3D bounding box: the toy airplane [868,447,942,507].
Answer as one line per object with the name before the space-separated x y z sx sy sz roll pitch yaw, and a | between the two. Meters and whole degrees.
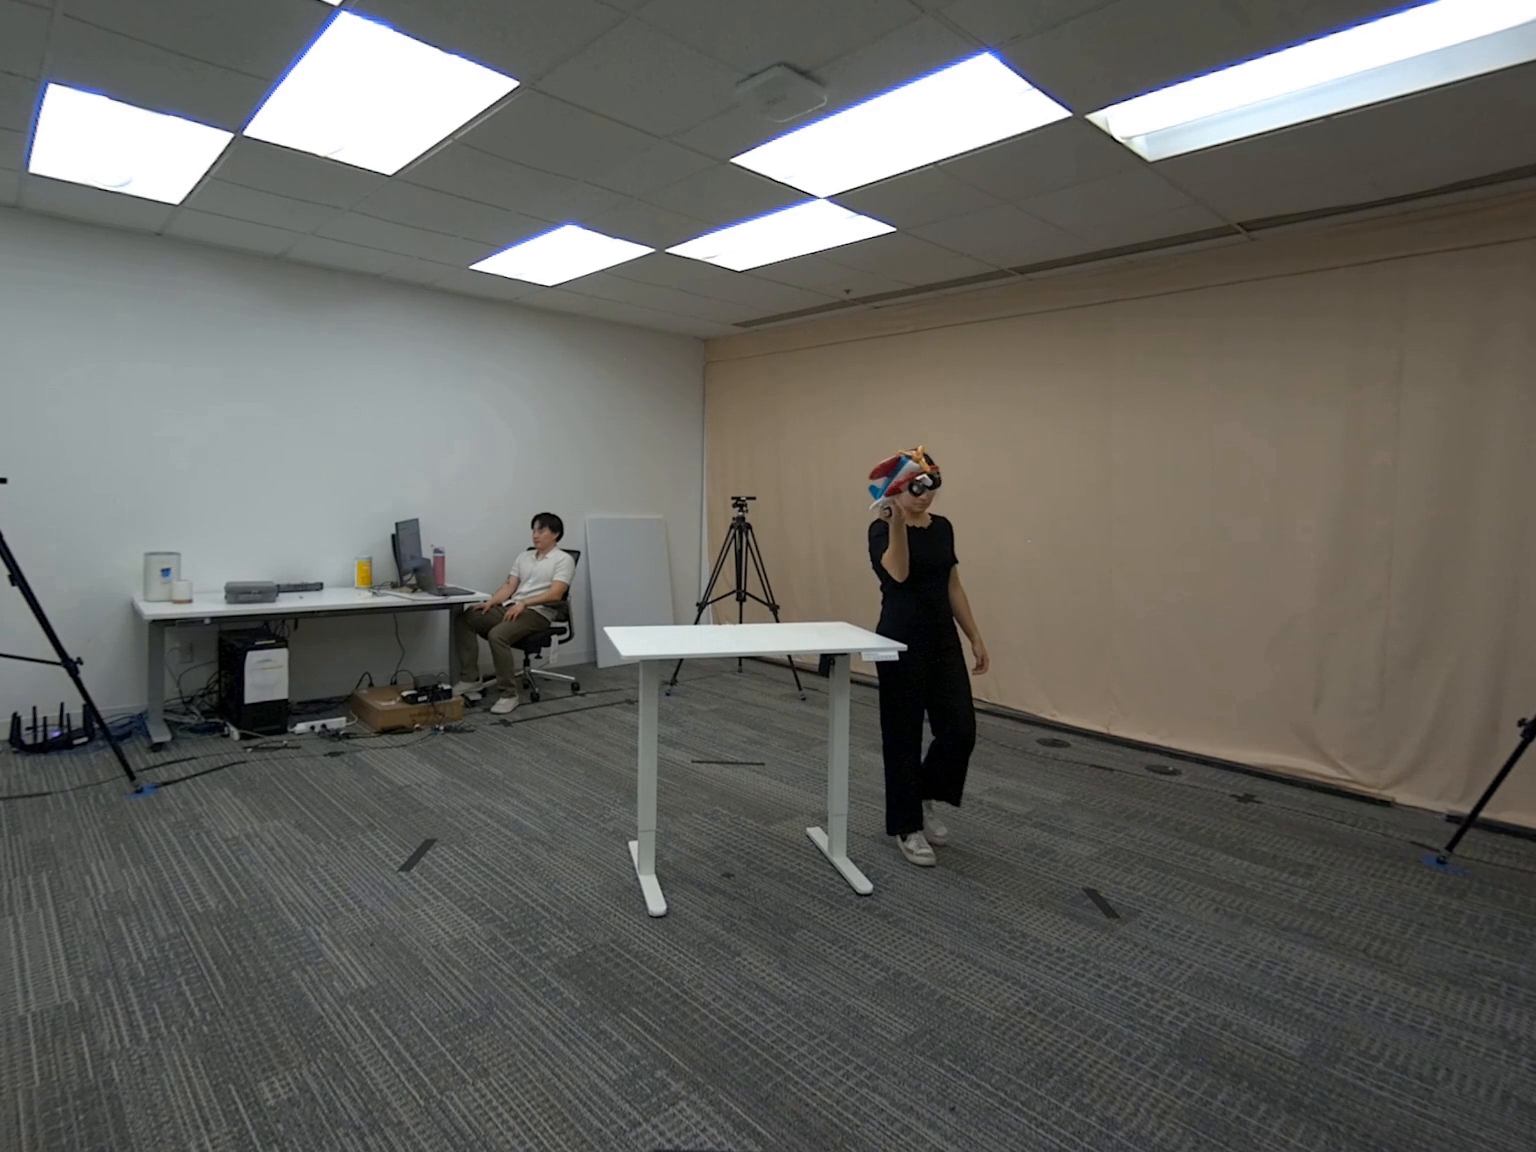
toy airplane | 0.411 -0.300 2.749 0.261 0.158 0.247 -29 -7 24
